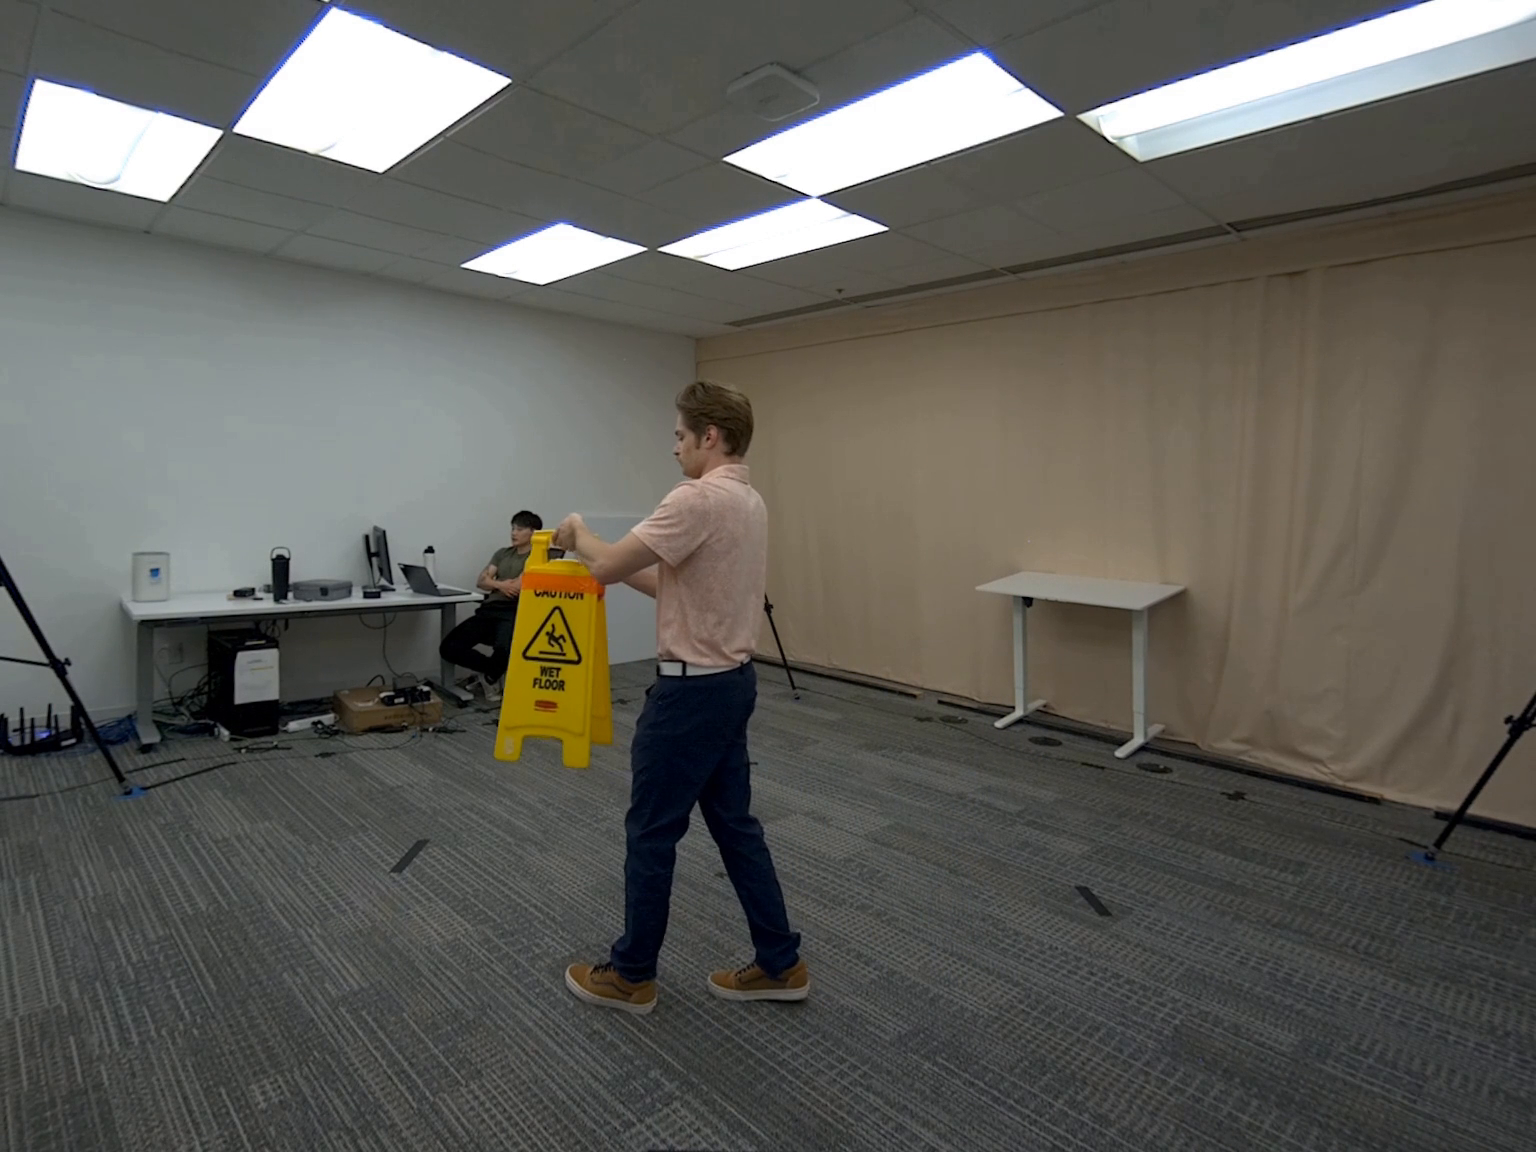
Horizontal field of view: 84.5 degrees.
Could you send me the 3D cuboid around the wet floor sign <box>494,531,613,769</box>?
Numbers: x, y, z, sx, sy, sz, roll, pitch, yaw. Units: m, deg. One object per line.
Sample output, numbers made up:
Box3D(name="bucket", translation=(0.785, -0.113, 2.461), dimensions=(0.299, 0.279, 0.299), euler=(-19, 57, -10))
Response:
Box3D(name="wet floor sign", translation=(-0.612, 0.198, 2.463), dimensions=(0.284, 0.646, 0.288), euler=(3, 1, 6))
